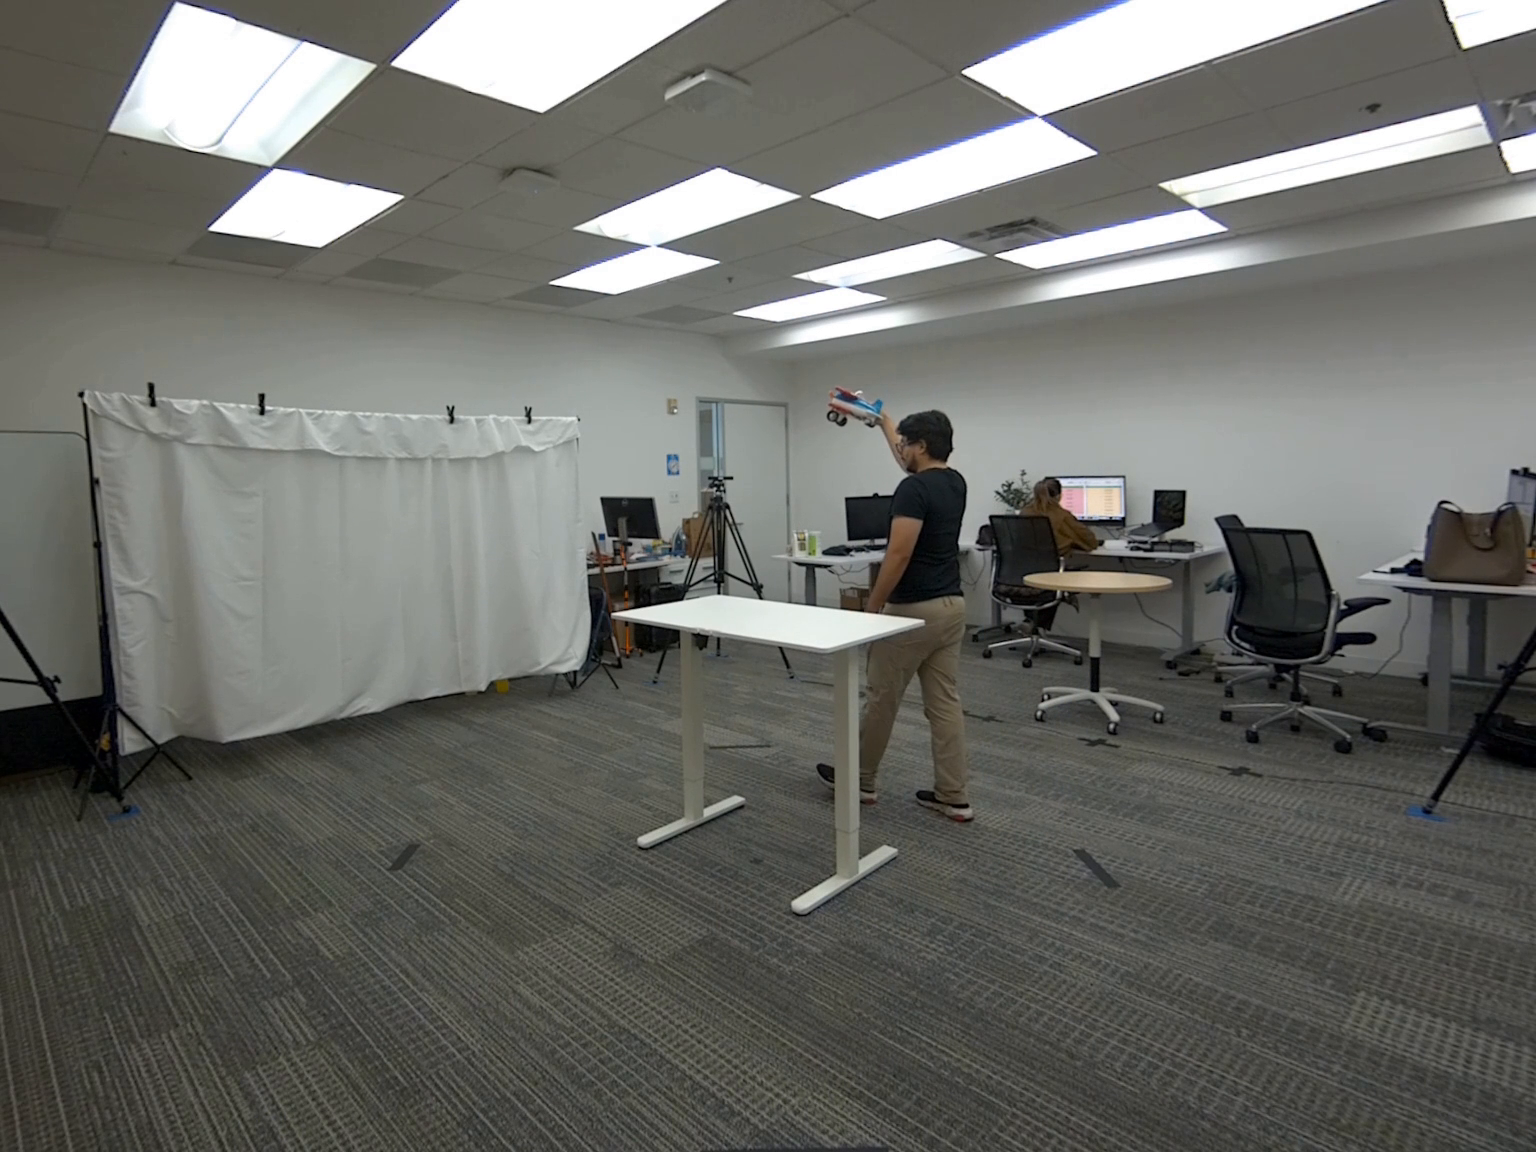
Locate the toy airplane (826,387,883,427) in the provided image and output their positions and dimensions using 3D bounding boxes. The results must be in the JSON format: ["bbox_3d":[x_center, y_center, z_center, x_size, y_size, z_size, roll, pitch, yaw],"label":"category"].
[{"bbox_3d":[0.413,-0.779,3.983,0.261,0.156,0.249,11,1,7],"label":"toy airplane"}]
